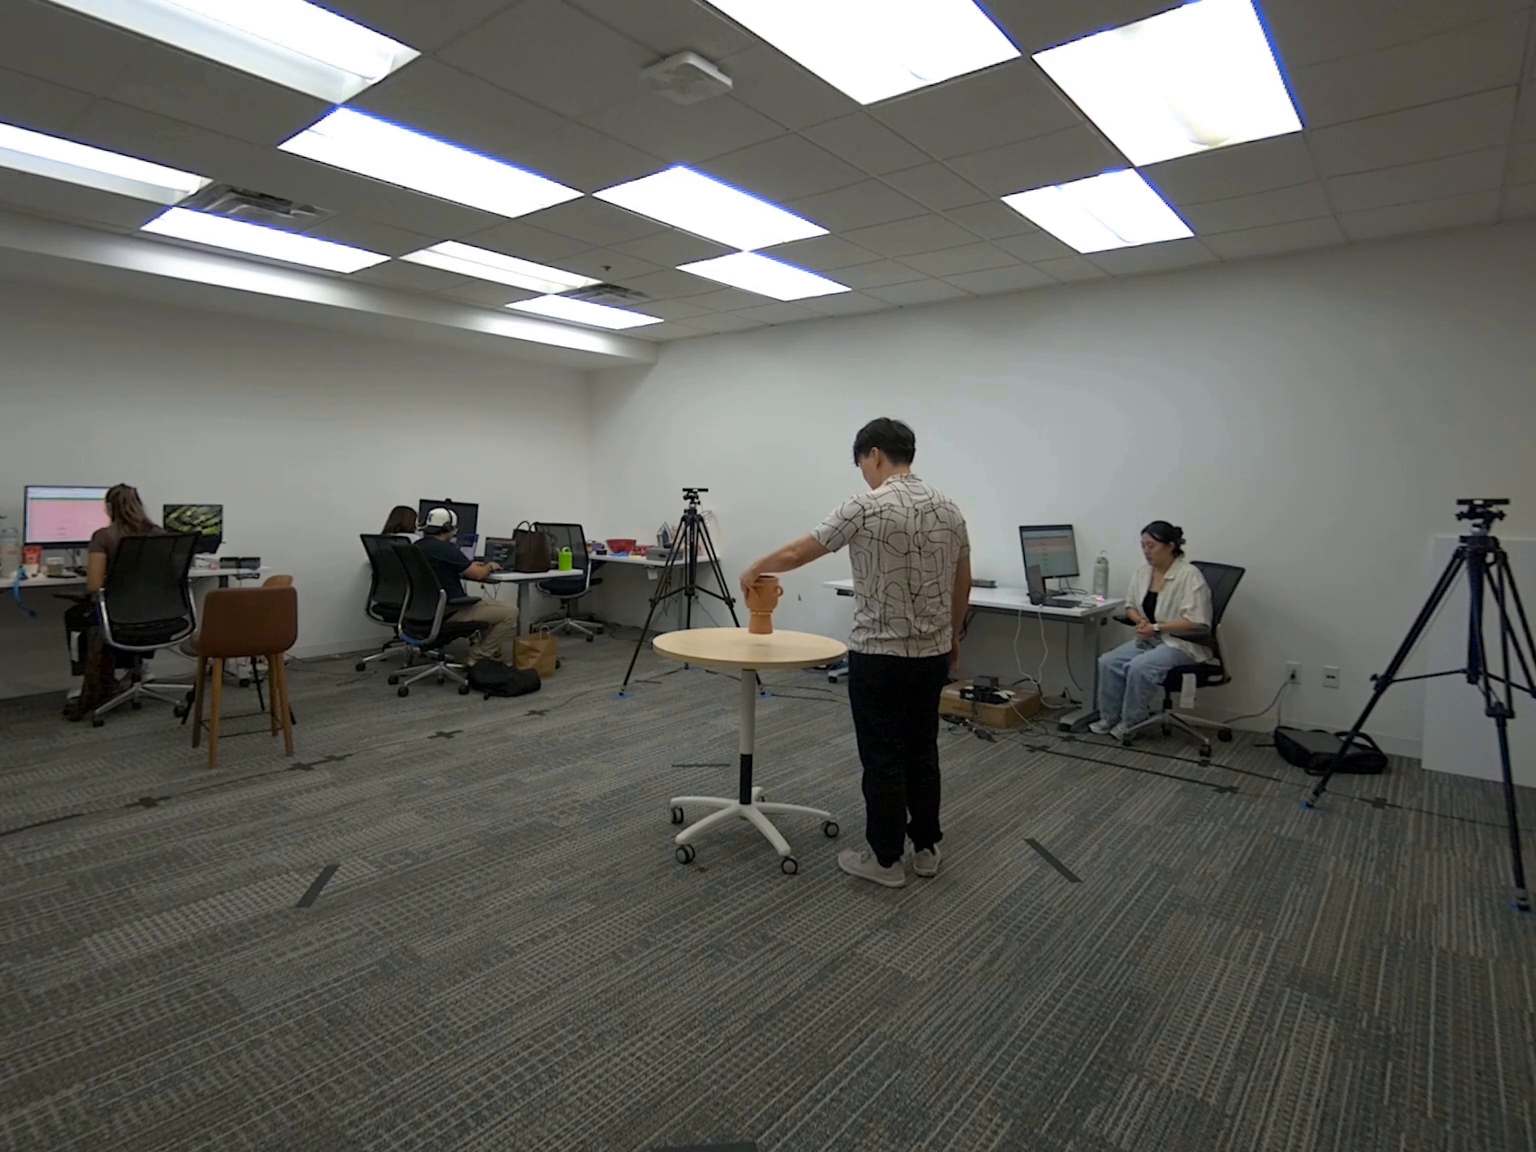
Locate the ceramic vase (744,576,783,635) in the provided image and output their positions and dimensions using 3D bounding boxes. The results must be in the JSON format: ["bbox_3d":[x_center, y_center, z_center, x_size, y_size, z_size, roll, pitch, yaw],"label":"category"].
[{"bbox_3d":[-0.037,0.109,3.330,0.132,0.219,0.162,-1,5,-18],"label":"ceramic vase"}]
